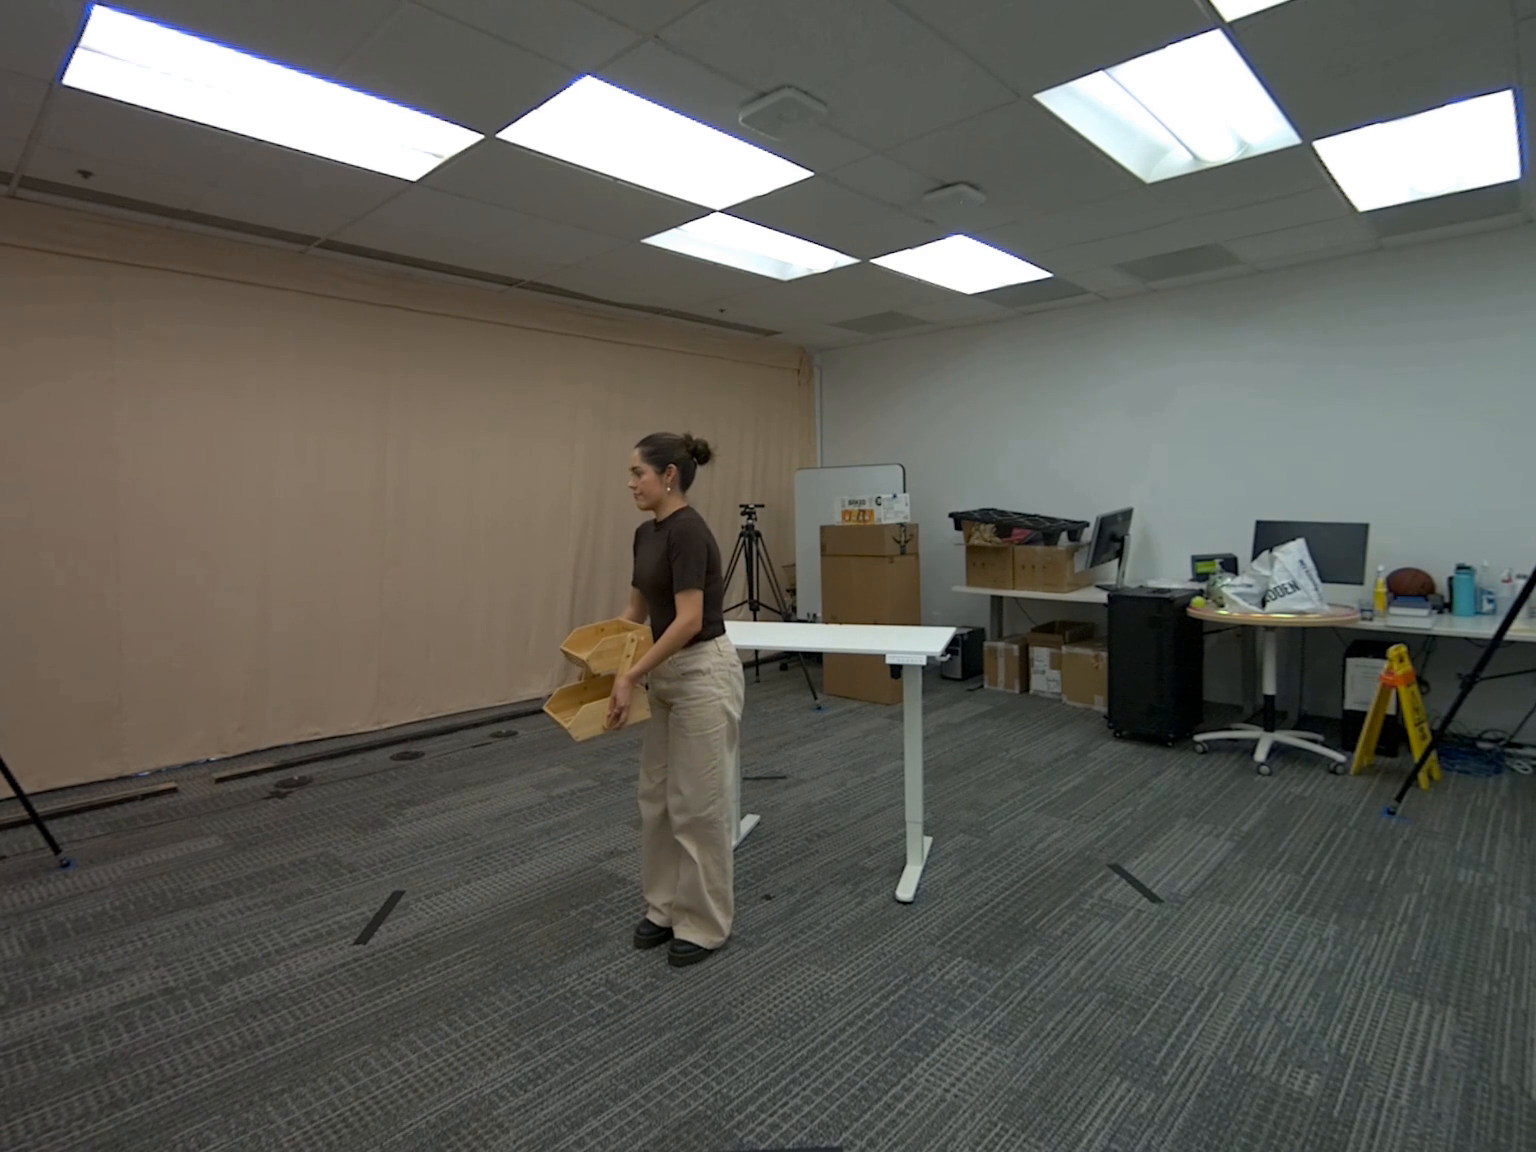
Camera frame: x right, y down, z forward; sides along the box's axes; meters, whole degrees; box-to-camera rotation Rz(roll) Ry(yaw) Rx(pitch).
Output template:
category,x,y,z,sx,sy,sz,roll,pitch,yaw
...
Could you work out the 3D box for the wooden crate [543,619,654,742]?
category,x,y,z,sx,sy,sz,roll,pitch,yaw
wooden crate,-0.526,0.302,2.538,0.296,0.272,0.333,-13,9,-24
